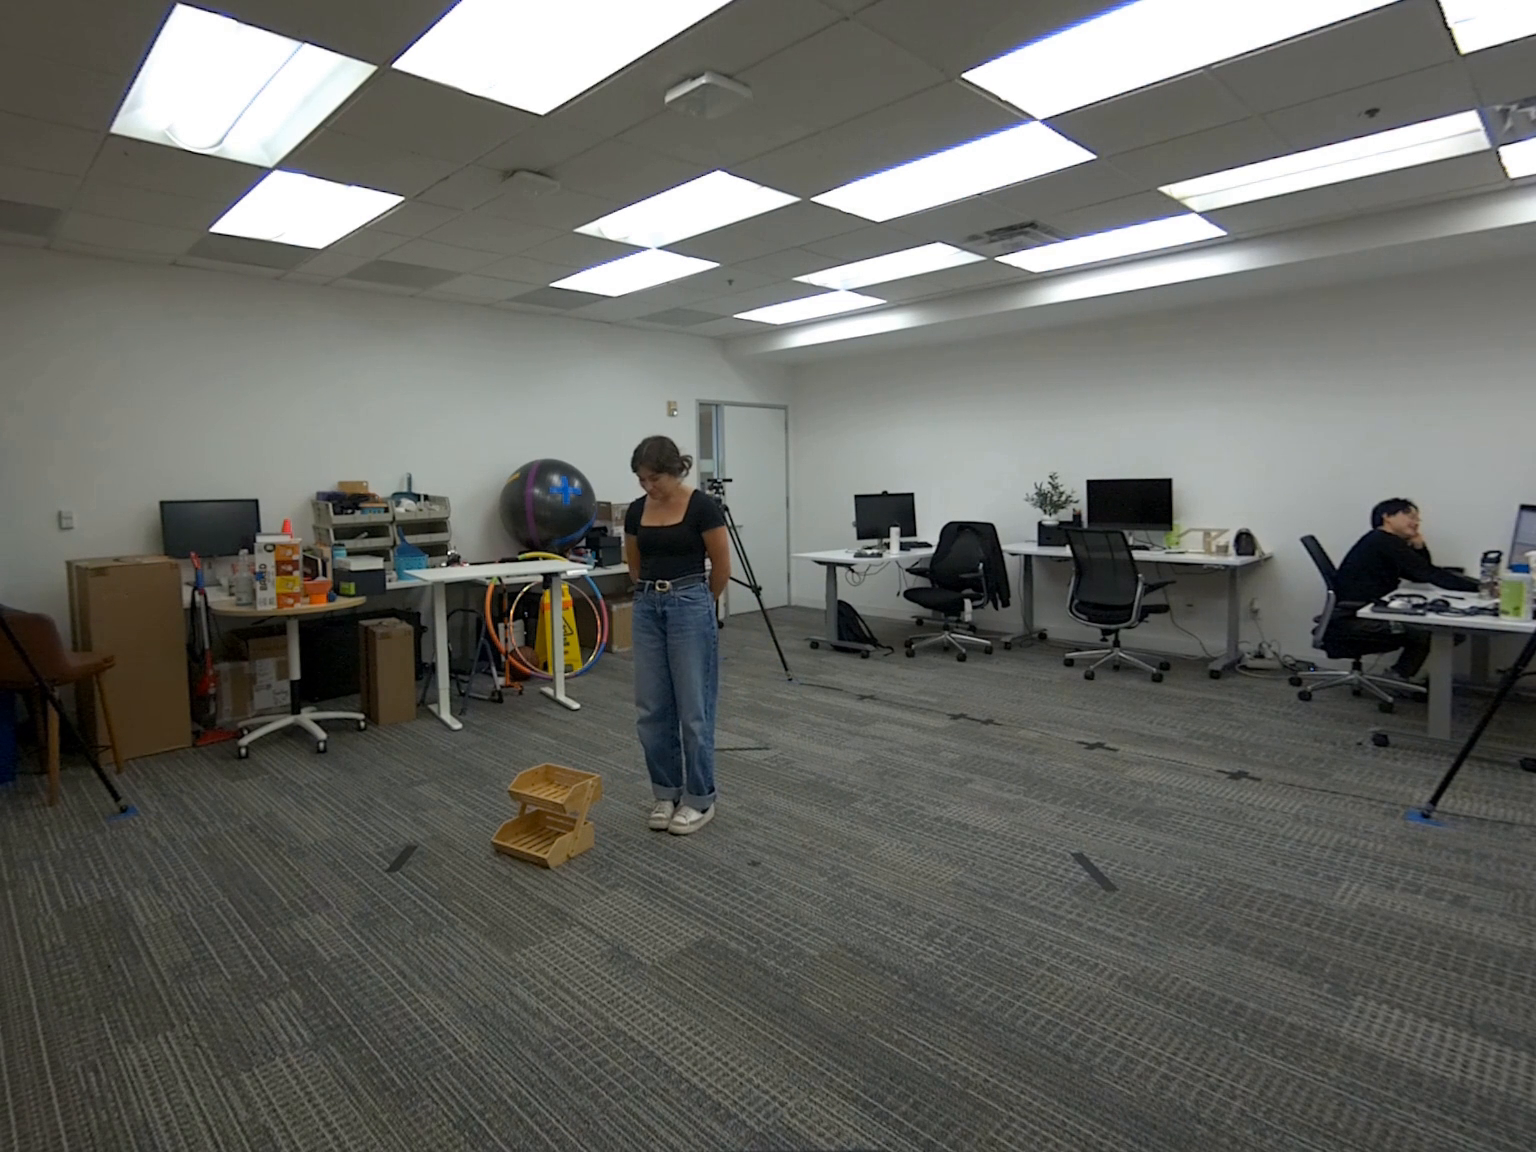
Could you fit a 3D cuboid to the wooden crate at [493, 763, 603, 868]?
[{"bbox_3d":[-0.849,0.908,3.277,0.333,0.272,0.295,2,5,33],"label":"wooden crate"}]
